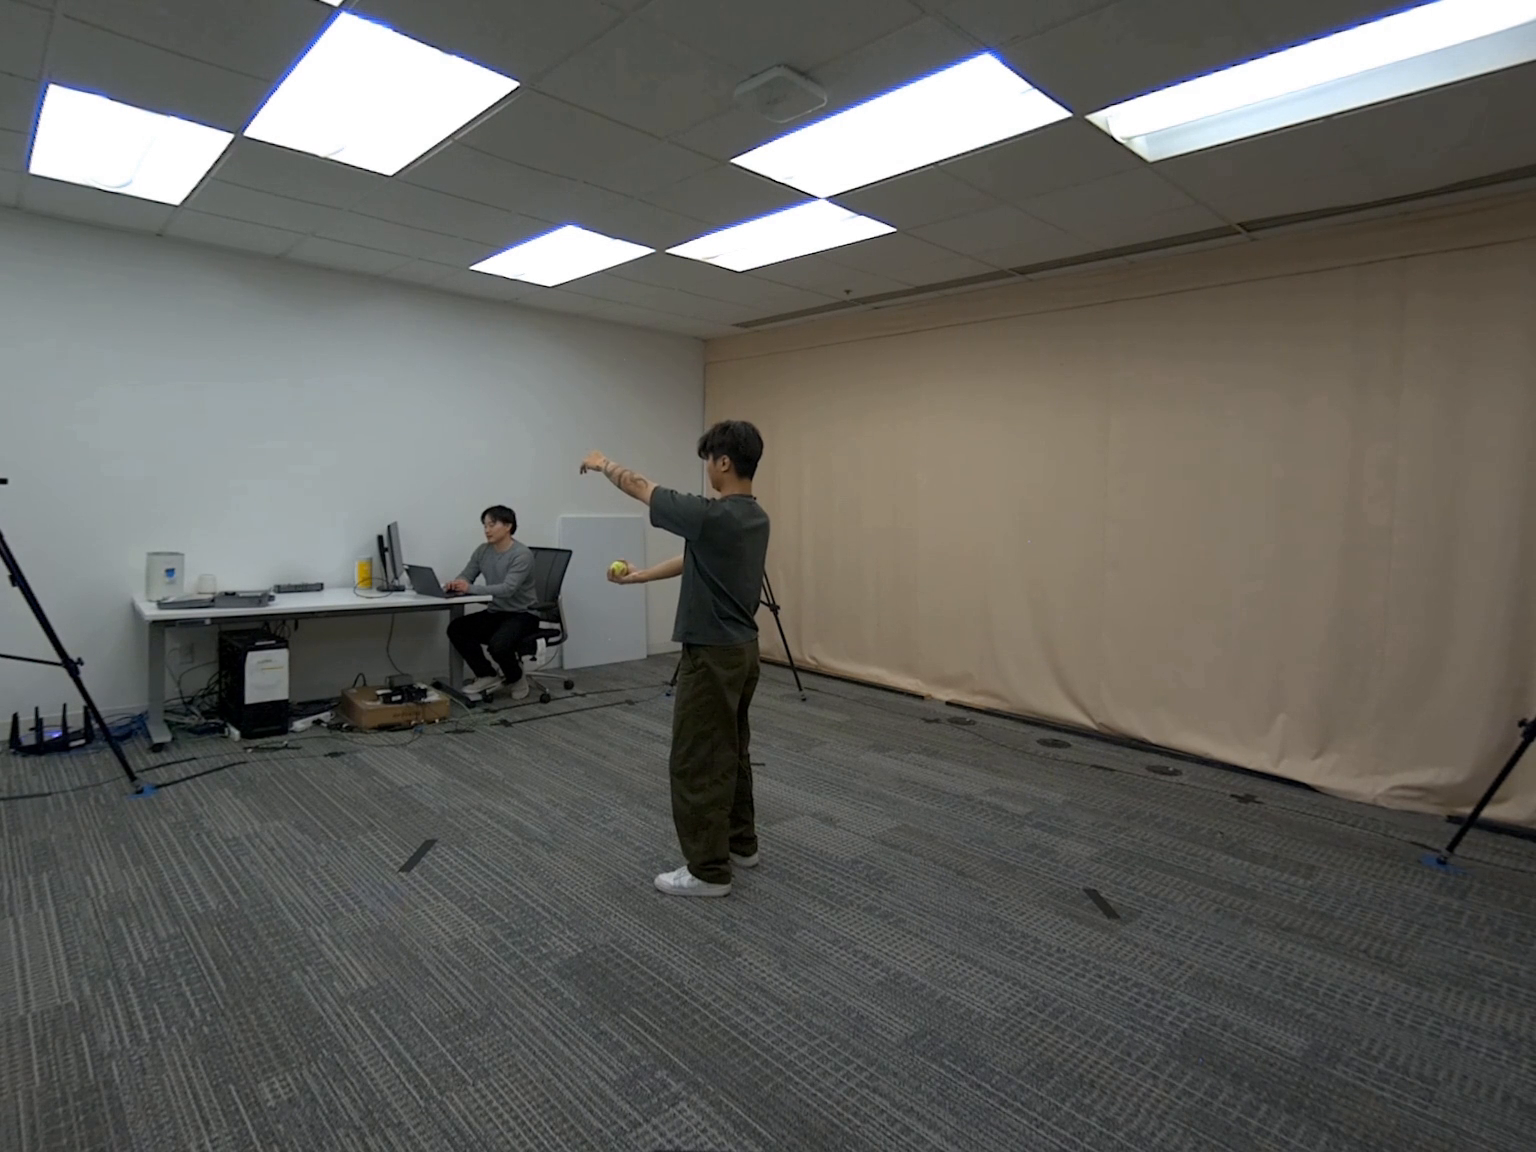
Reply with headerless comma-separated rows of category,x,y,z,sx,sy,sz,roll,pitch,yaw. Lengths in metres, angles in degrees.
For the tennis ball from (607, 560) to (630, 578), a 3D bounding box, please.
tennis ball,-0.587,-0.037,3.323,0.066,0.066,0.067,1,4,-1
